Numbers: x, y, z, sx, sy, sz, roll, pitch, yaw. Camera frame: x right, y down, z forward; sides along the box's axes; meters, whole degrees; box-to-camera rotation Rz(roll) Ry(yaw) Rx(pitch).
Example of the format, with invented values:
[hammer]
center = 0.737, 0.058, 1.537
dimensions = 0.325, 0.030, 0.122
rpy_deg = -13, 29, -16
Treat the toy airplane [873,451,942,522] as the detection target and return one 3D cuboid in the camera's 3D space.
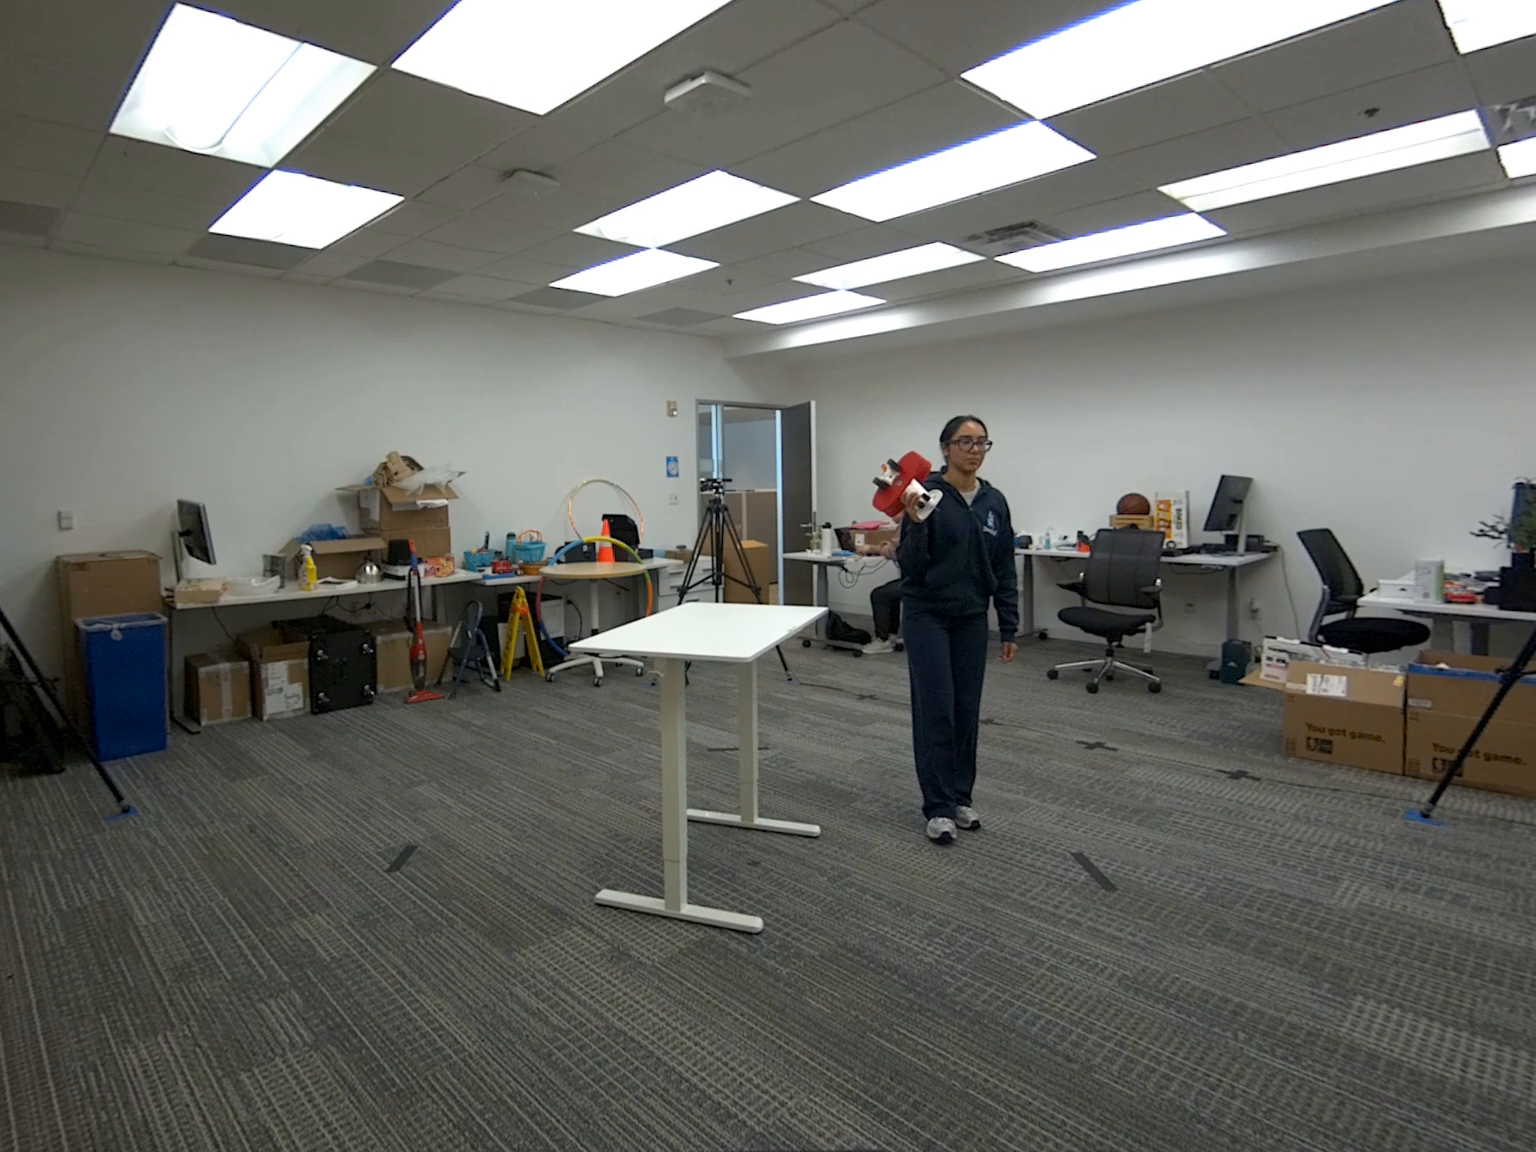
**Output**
[toy airplane]
center = 0.518, -0.312, 3.172
dimensions = 0.253, 0.264, 0.152
rpy_deg = -27, -18, 22
